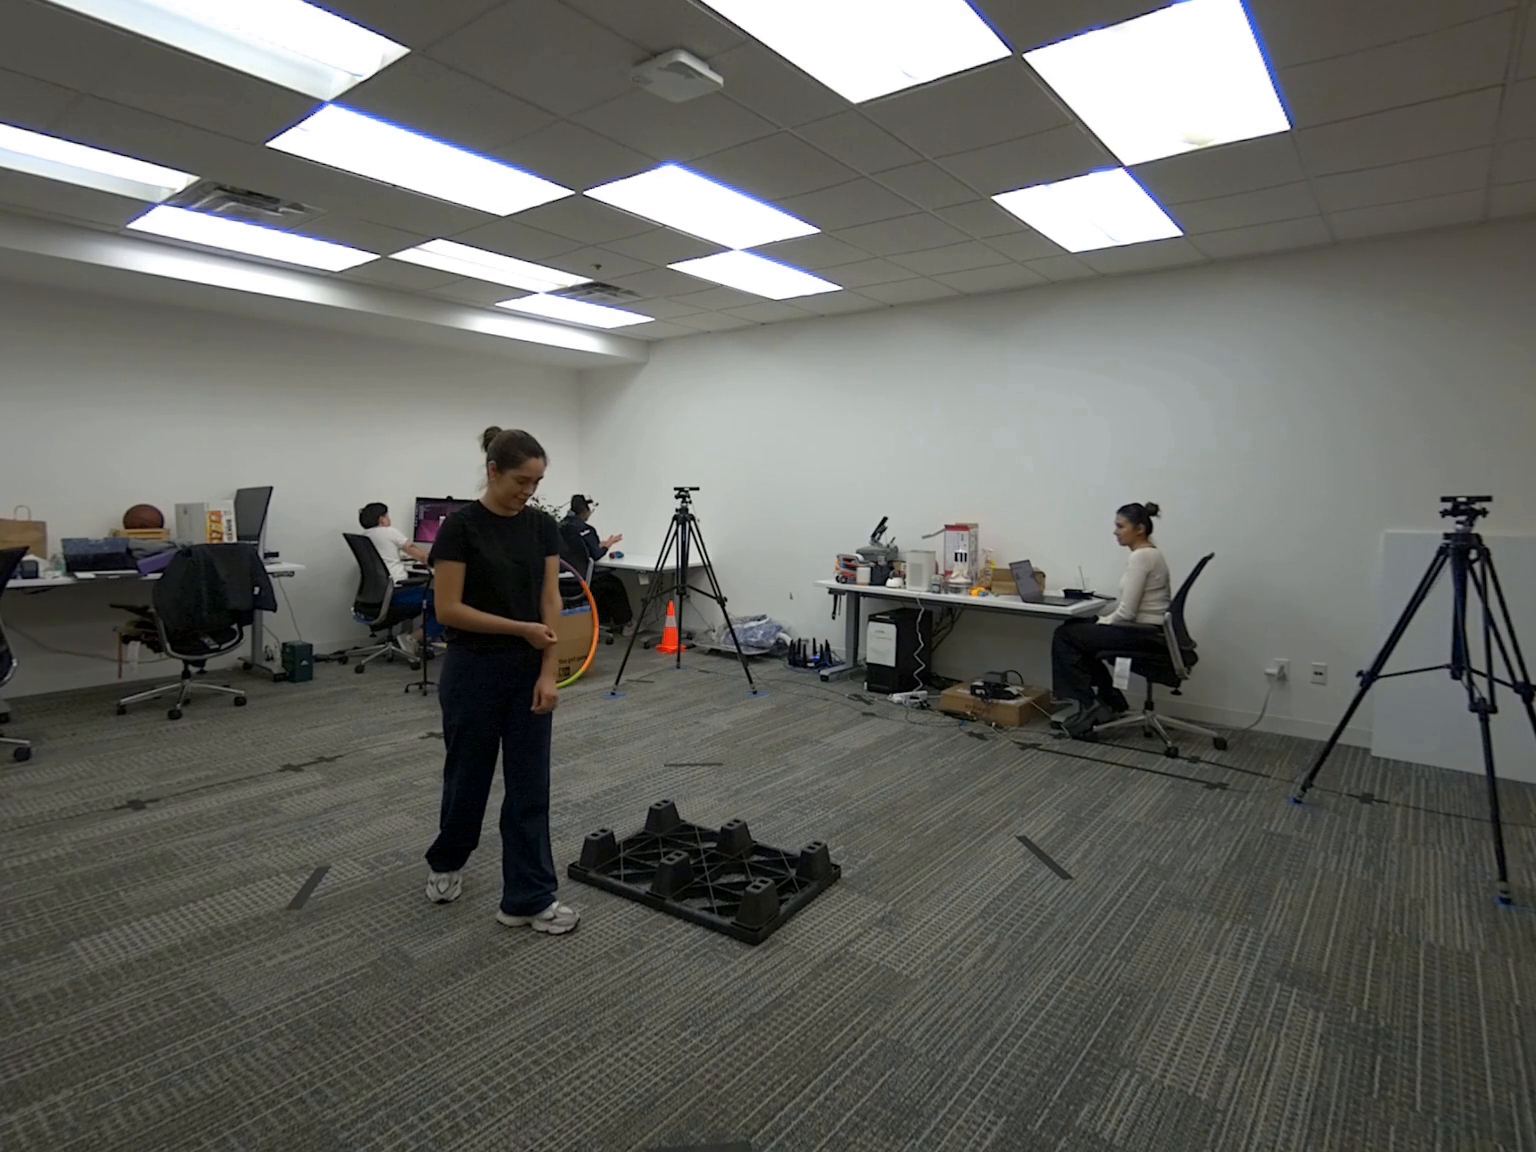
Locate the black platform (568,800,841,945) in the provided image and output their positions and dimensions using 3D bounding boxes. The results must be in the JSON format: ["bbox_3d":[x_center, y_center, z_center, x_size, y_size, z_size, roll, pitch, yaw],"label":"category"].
[{"bbox_3d":[-0.218,1.005,3.053,0.831,0.143,0.588,4,6,33],"label":"black platform"}]
